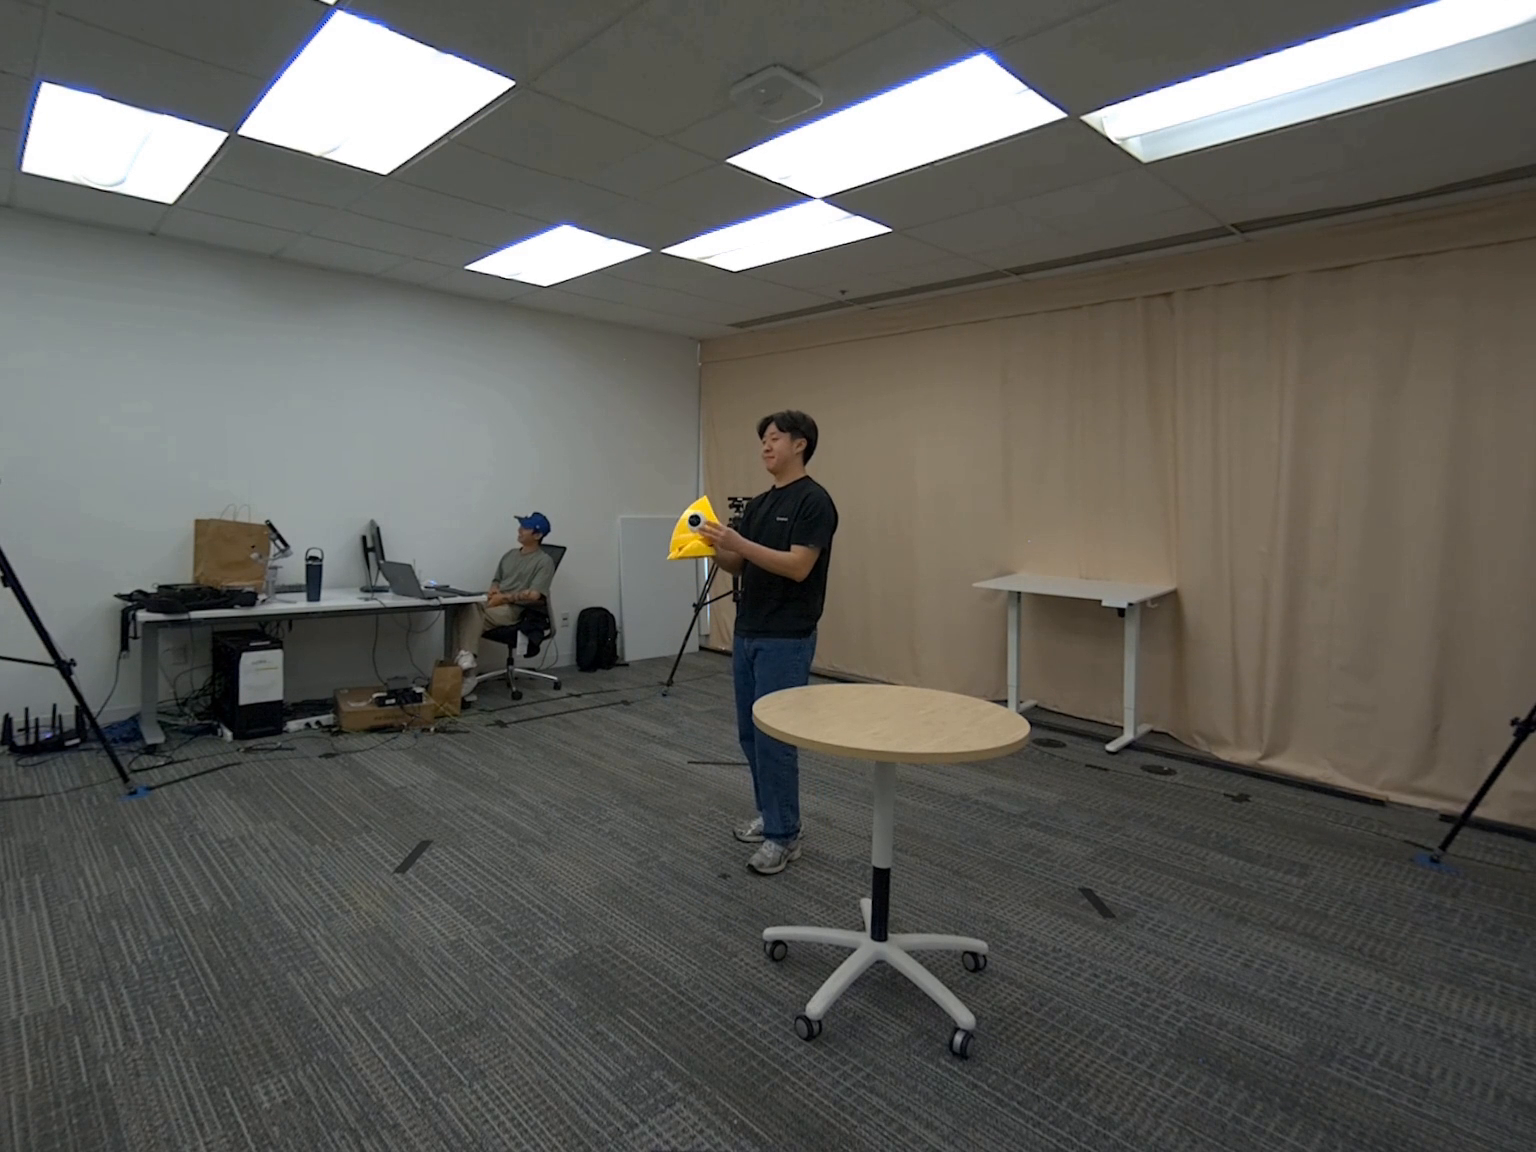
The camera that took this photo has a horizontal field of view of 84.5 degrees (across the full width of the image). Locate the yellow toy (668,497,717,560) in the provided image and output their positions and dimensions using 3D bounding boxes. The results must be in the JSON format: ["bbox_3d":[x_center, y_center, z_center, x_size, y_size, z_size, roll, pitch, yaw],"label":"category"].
[{"bbox_3d":[-0.283,-0.186,3.136,0.190,0.231,0.207,-2,-3,-23],"label":"yellow toy"}]
